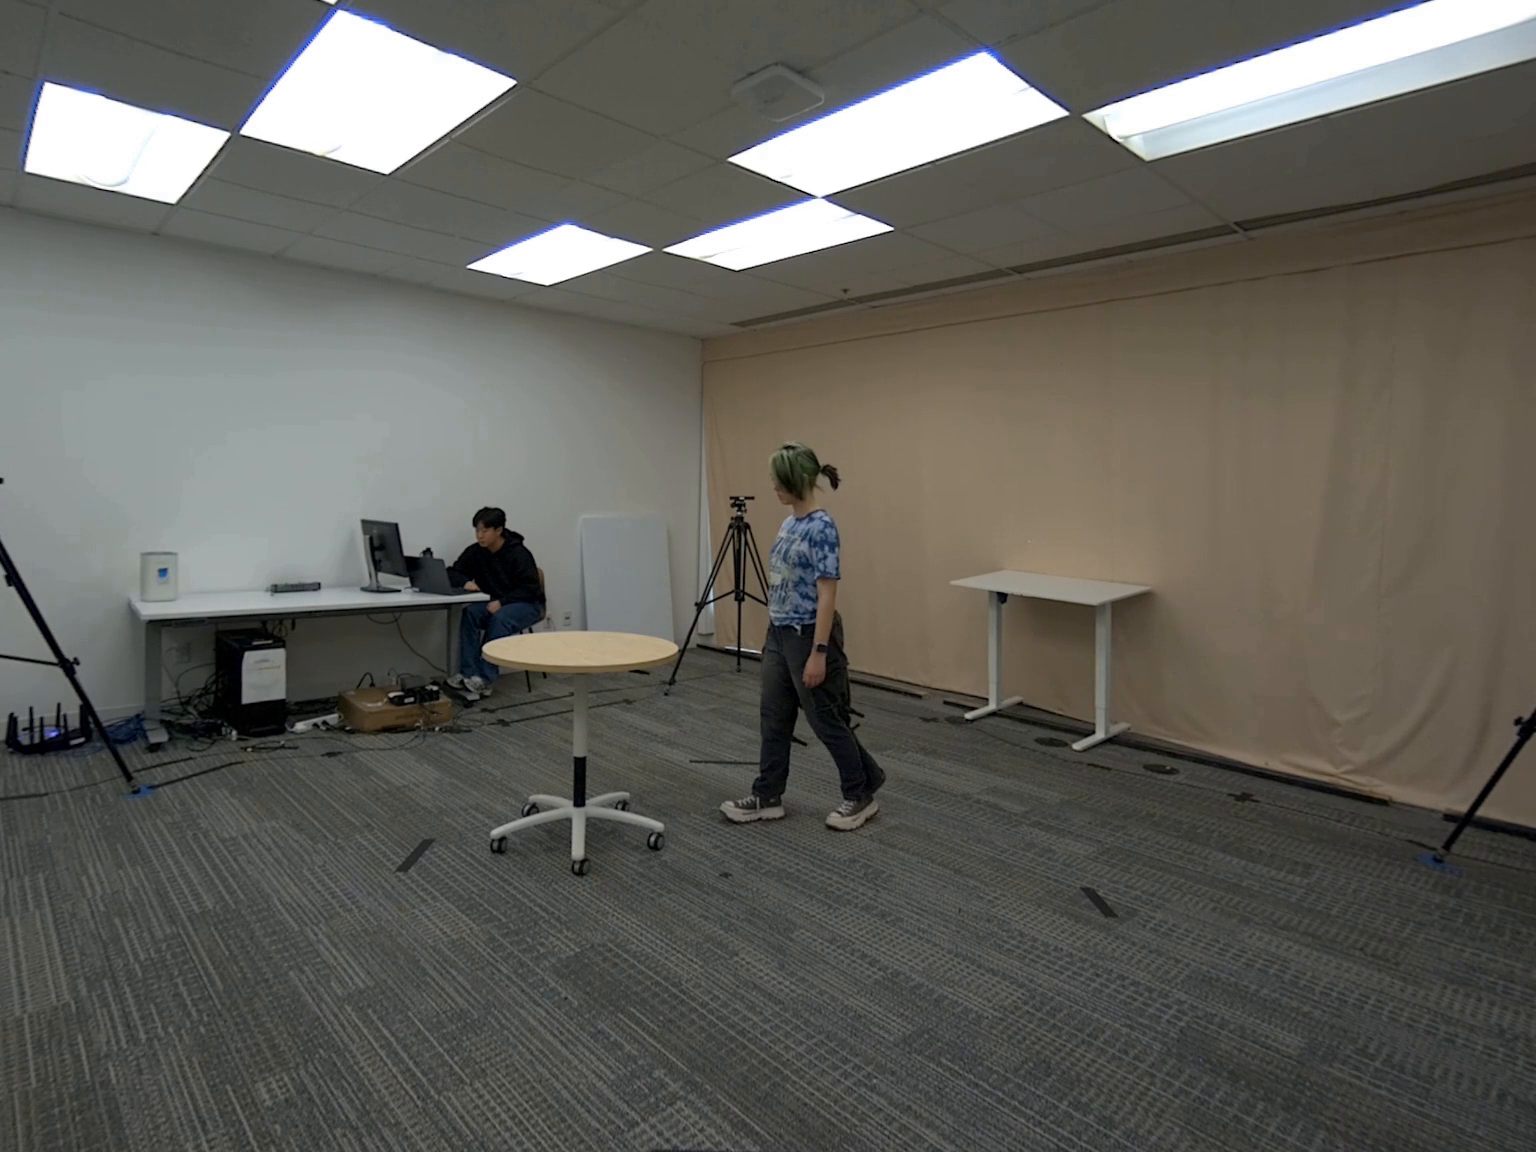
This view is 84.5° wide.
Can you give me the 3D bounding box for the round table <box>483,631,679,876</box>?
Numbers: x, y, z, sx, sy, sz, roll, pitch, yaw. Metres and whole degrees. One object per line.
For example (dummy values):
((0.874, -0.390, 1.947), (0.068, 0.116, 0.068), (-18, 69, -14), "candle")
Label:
((-0.756, 0.679, 3.368), (0.763, 0.792, 0.766), (1, 4, -1), "round table")
